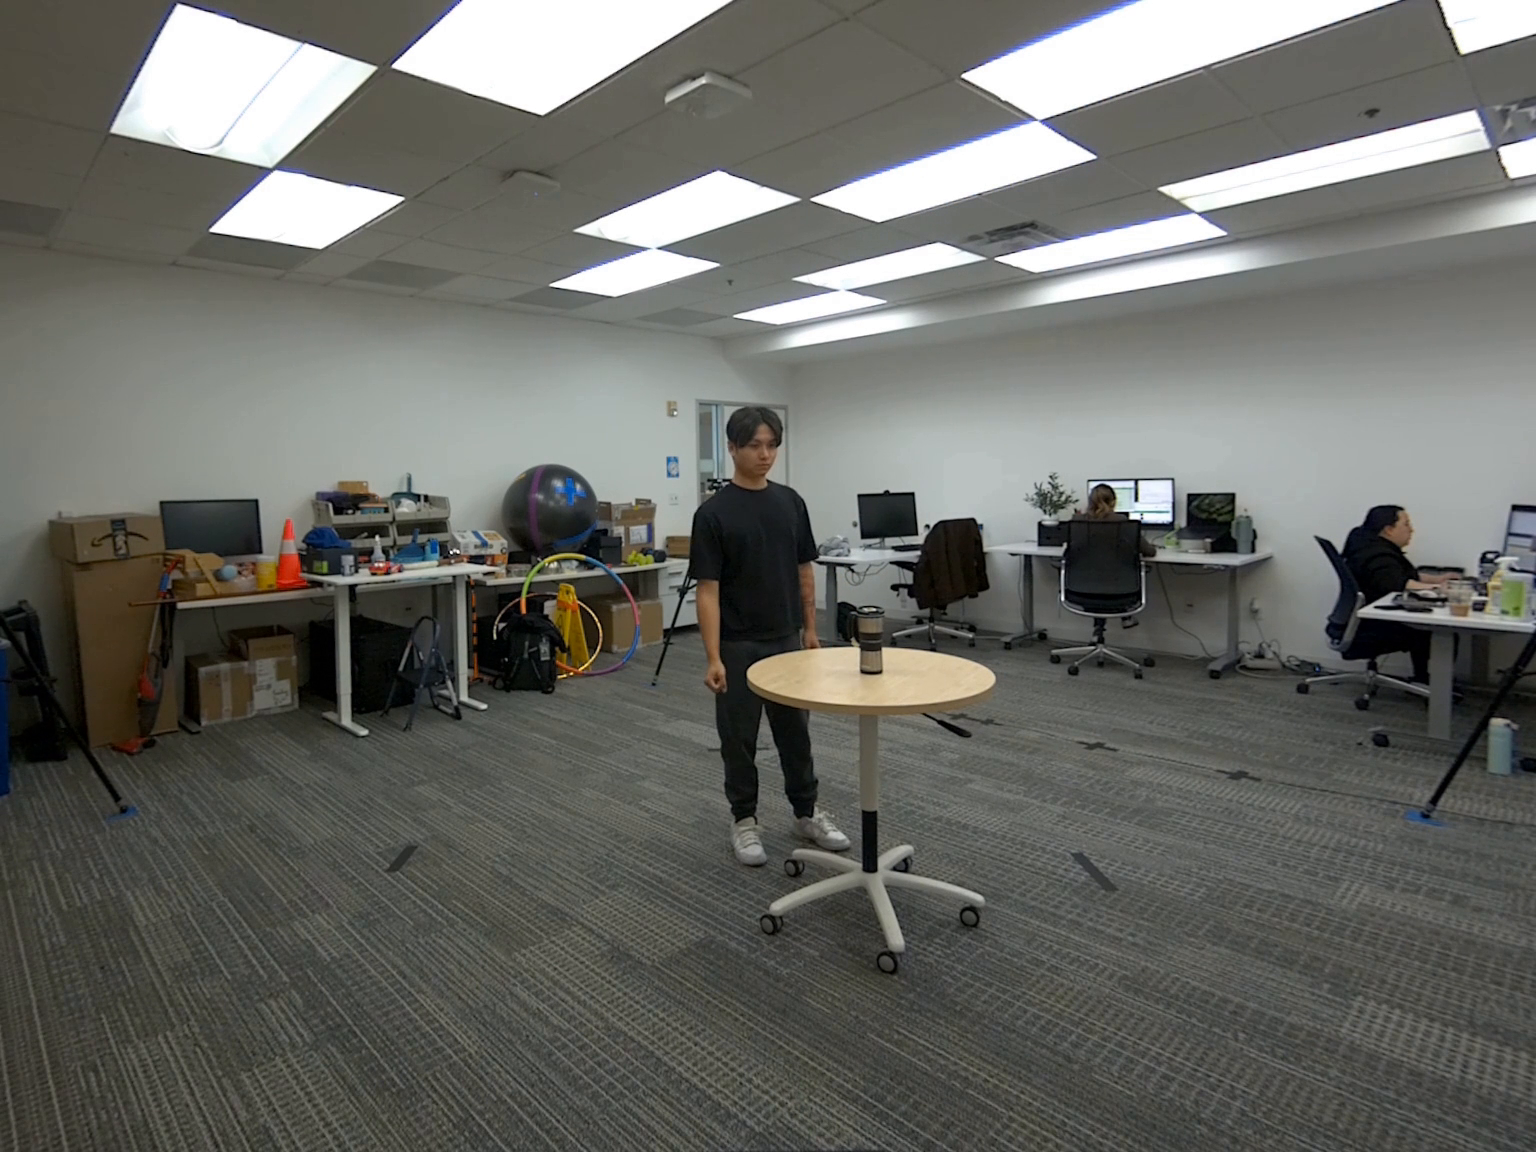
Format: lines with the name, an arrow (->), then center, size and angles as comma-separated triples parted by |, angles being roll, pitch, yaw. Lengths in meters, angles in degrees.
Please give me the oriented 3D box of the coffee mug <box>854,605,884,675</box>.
coffee mug -> 0.321, 0.201, 2.695 | 0.086, 0.201, 0.125 | -9, 12, -26
